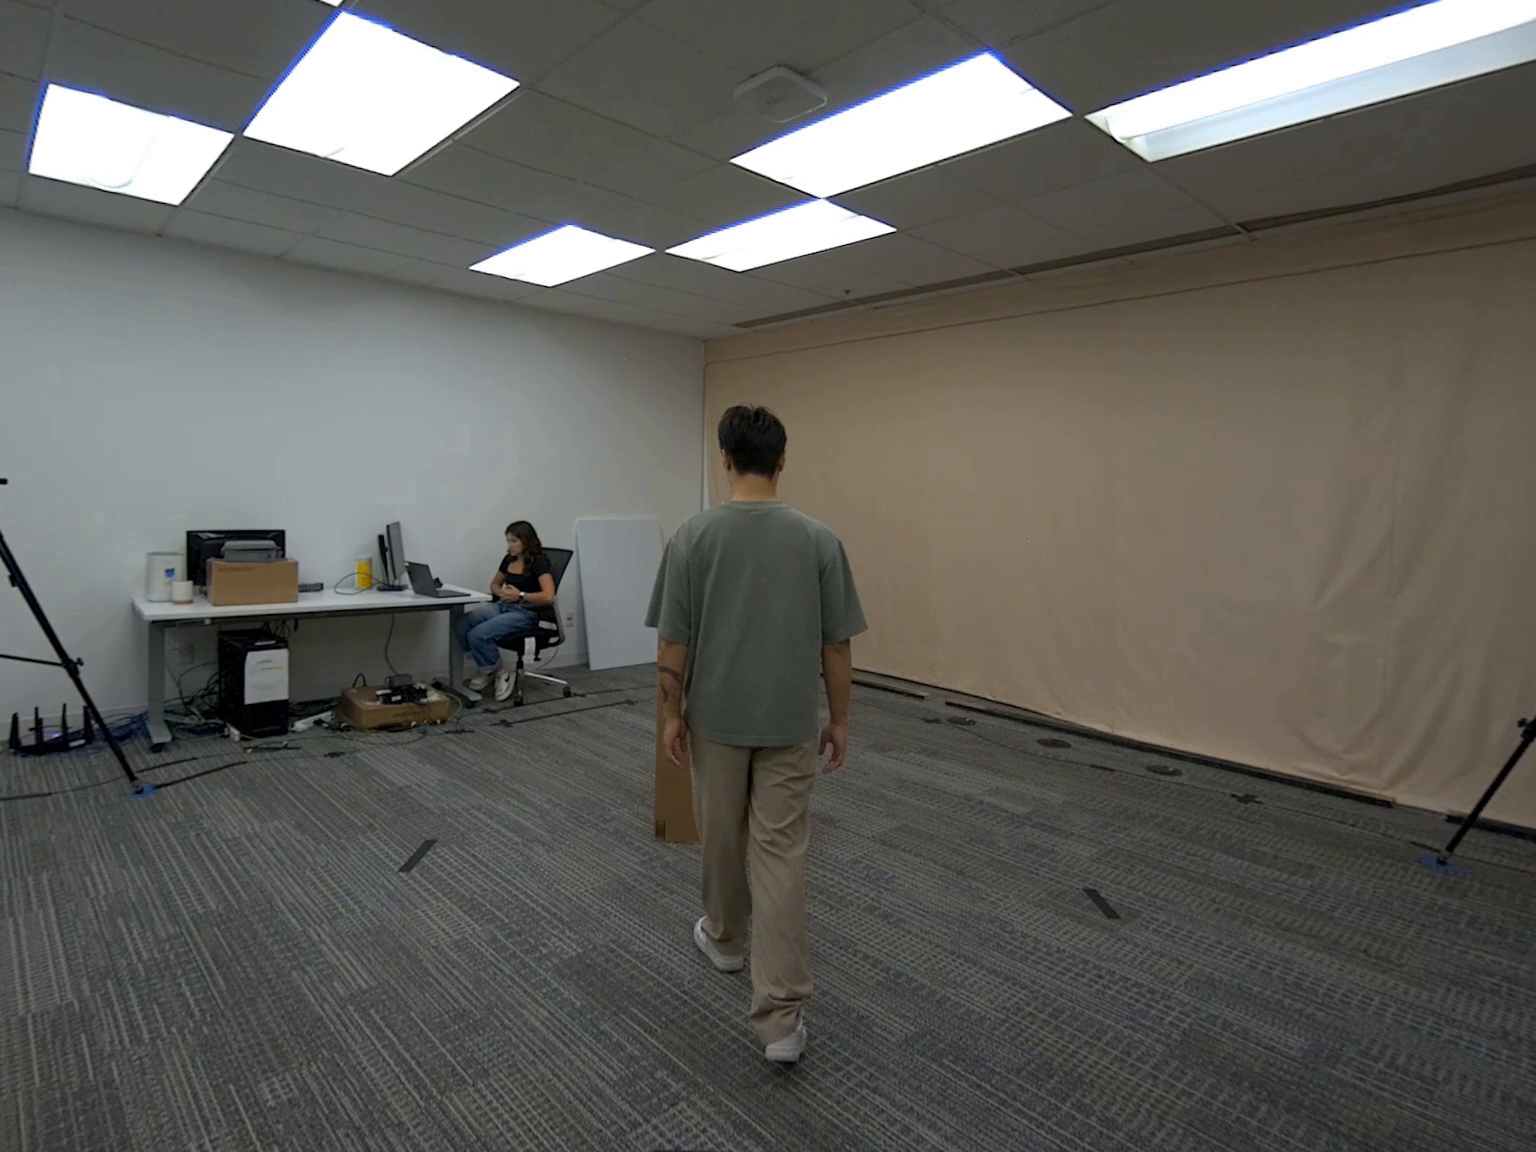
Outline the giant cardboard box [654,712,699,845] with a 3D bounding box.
[{"bbox_3d":[-0.156,0.560,3.563,0.579,1.023,0.426,2,3,4],"label":"giant cardboard box"}]
